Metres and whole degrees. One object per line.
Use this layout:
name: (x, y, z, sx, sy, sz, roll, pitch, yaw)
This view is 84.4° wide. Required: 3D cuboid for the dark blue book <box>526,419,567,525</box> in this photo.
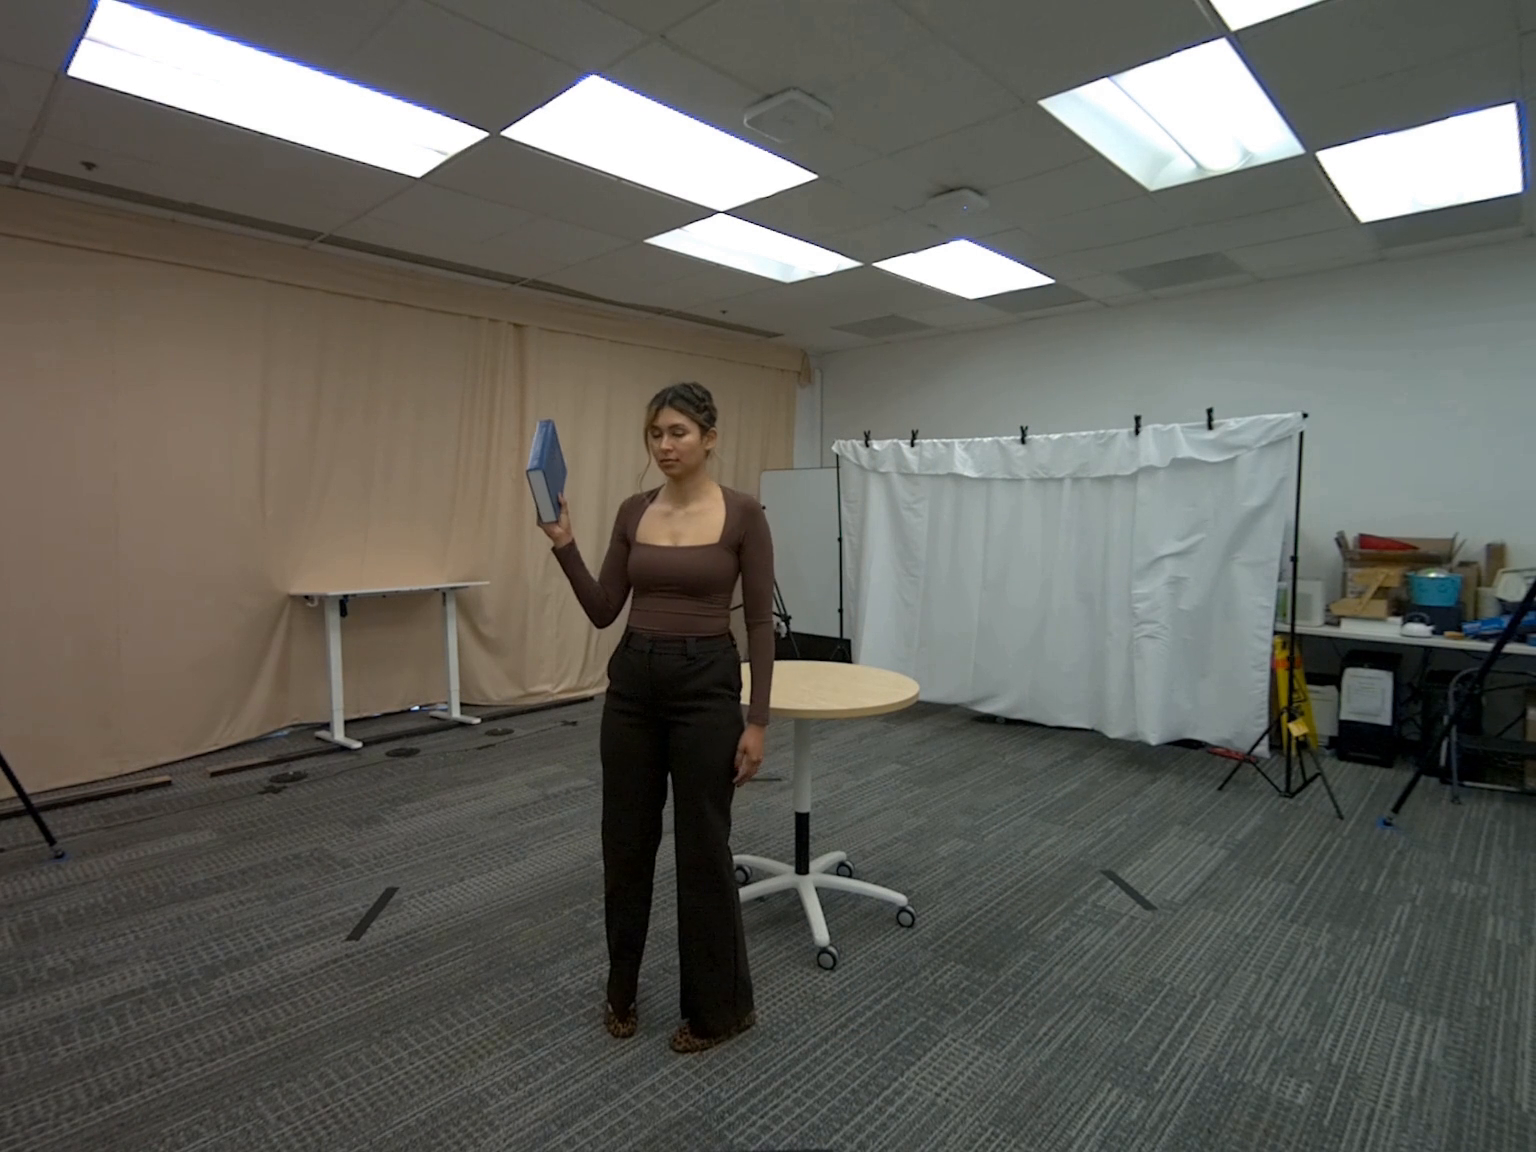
dark blue book: (-0.557, -0.271, 2.142, 0.045, 0.159, 0.250, -10, 38, 1)
